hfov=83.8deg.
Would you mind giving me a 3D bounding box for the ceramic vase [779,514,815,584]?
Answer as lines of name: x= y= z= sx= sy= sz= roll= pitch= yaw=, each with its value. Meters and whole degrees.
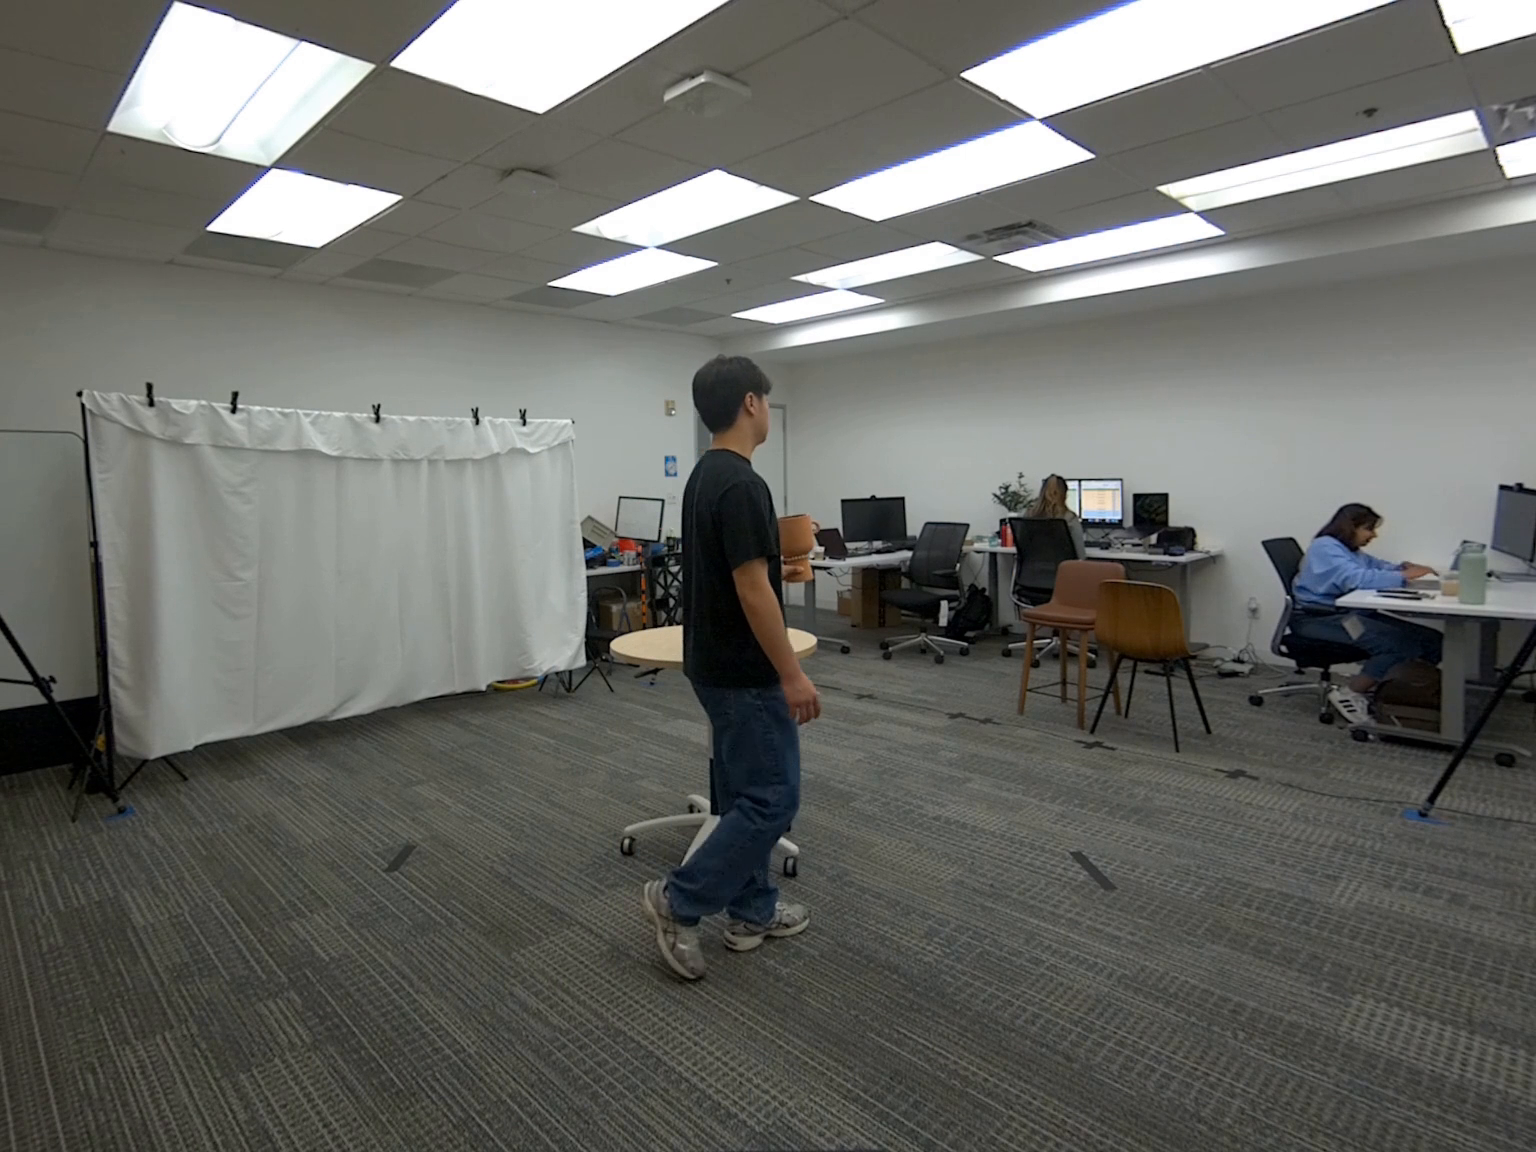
ceramic vase: x=0.102 y=-0.092 z=2.908 sx=0.162 sy=0.219 sz=0.133 roll=-7 pitch=5 yaw=24
